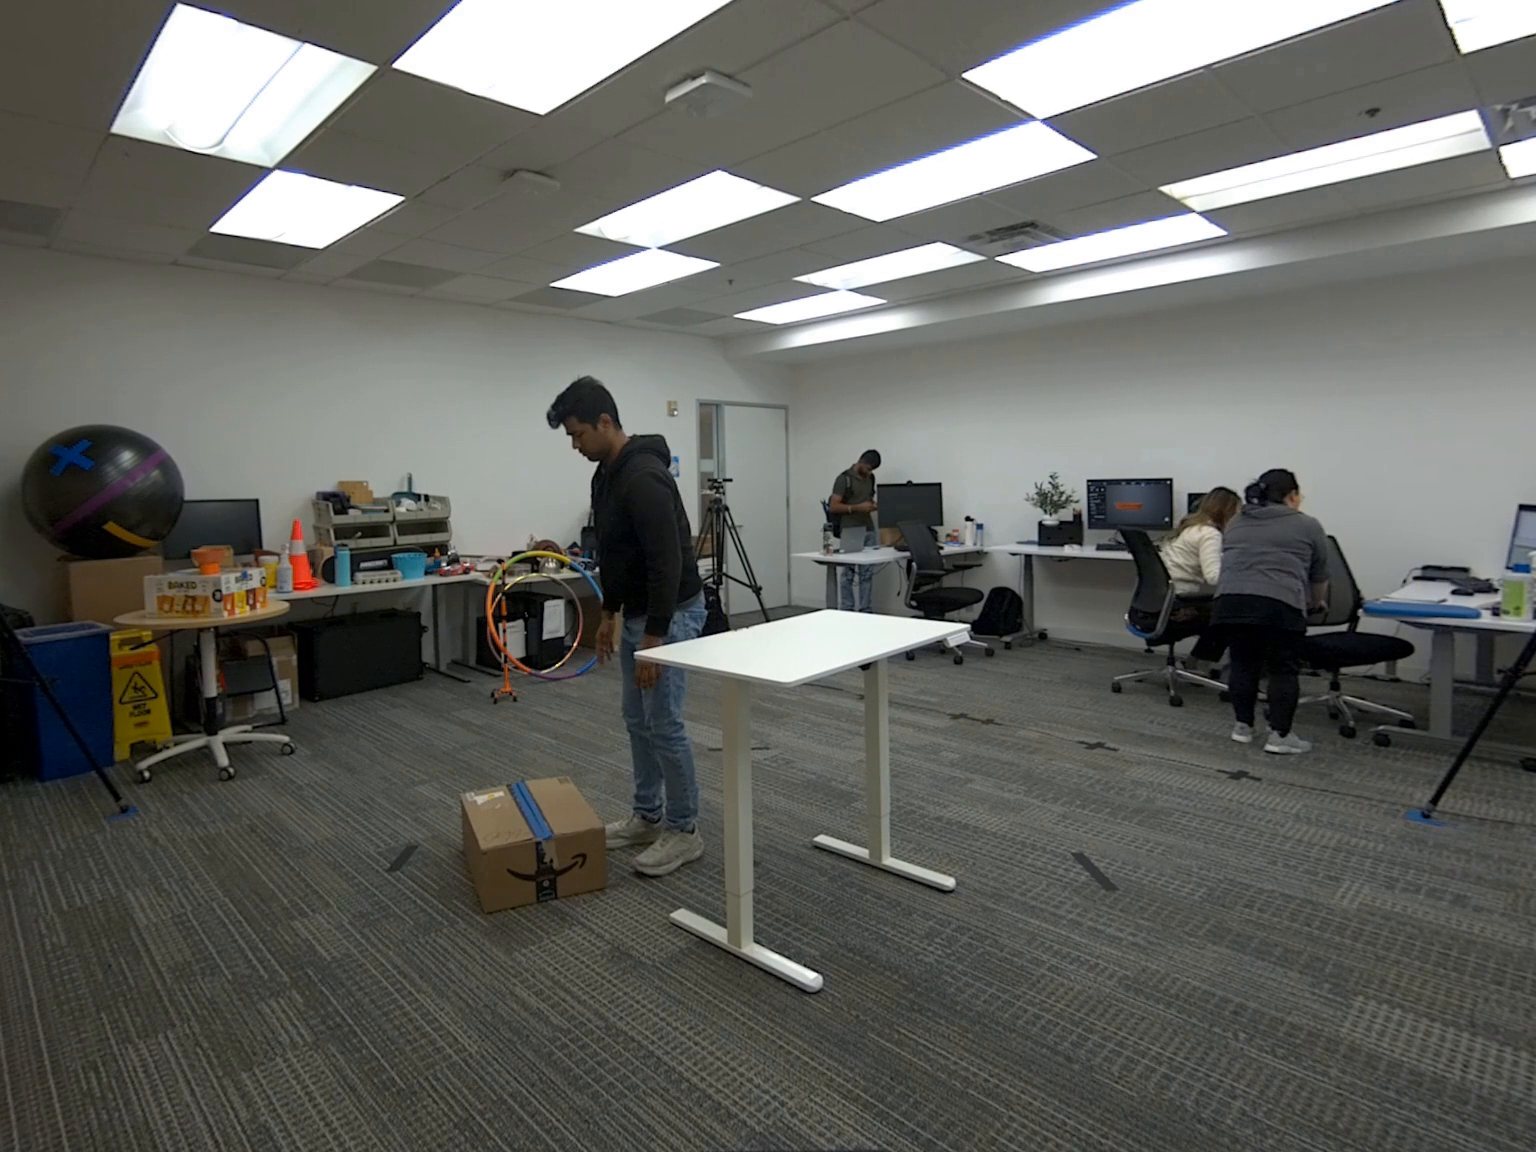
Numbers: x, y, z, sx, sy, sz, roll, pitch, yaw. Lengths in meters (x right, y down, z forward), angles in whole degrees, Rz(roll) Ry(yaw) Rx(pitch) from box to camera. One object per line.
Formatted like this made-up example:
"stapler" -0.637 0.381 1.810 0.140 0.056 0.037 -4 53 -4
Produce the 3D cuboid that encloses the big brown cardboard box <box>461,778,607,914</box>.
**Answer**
"big brown cardboard box" -0.862 0.952 3.104 0.409 0.232 0.604 -5 7 -26
